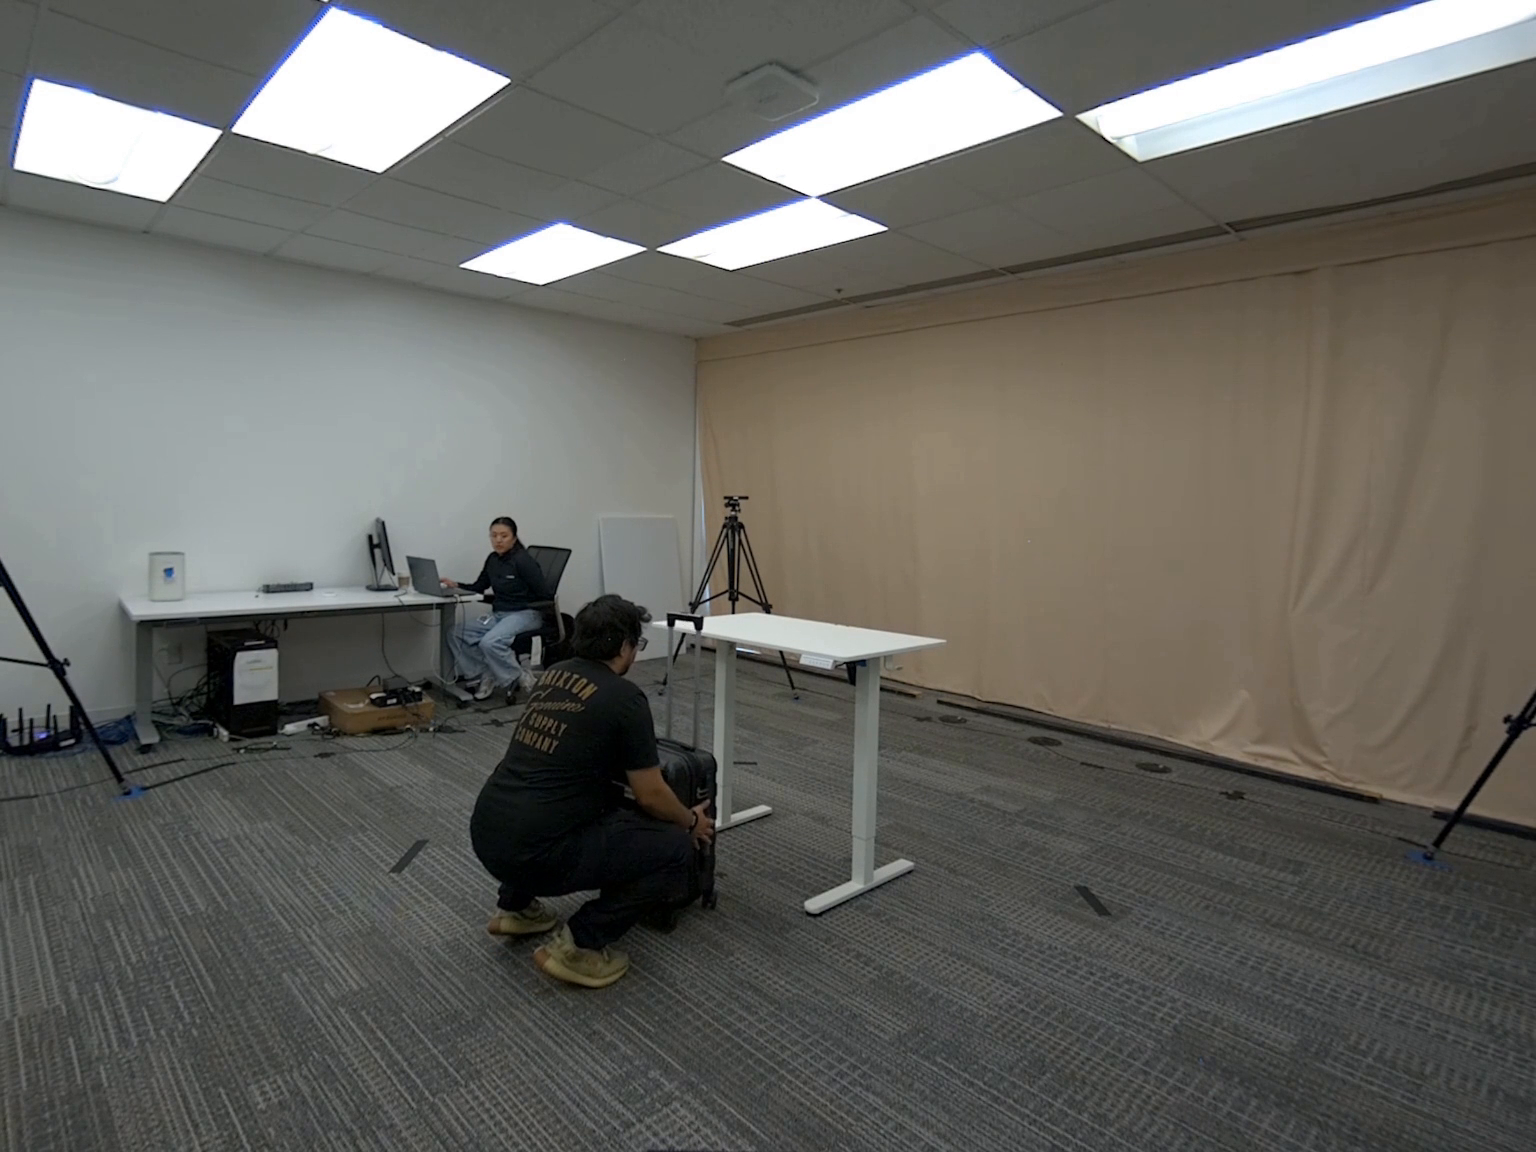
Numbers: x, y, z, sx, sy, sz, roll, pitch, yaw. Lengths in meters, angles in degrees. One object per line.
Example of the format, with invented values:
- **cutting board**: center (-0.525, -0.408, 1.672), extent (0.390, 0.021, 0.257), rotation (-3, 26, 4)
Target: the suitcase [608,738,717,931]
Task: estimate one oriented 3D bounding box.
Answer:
- **suitcase**: center (-0.366, 0.637, 2.831), extent (0.393, 0.976, 0.251), rotation (3, 5, 43)
